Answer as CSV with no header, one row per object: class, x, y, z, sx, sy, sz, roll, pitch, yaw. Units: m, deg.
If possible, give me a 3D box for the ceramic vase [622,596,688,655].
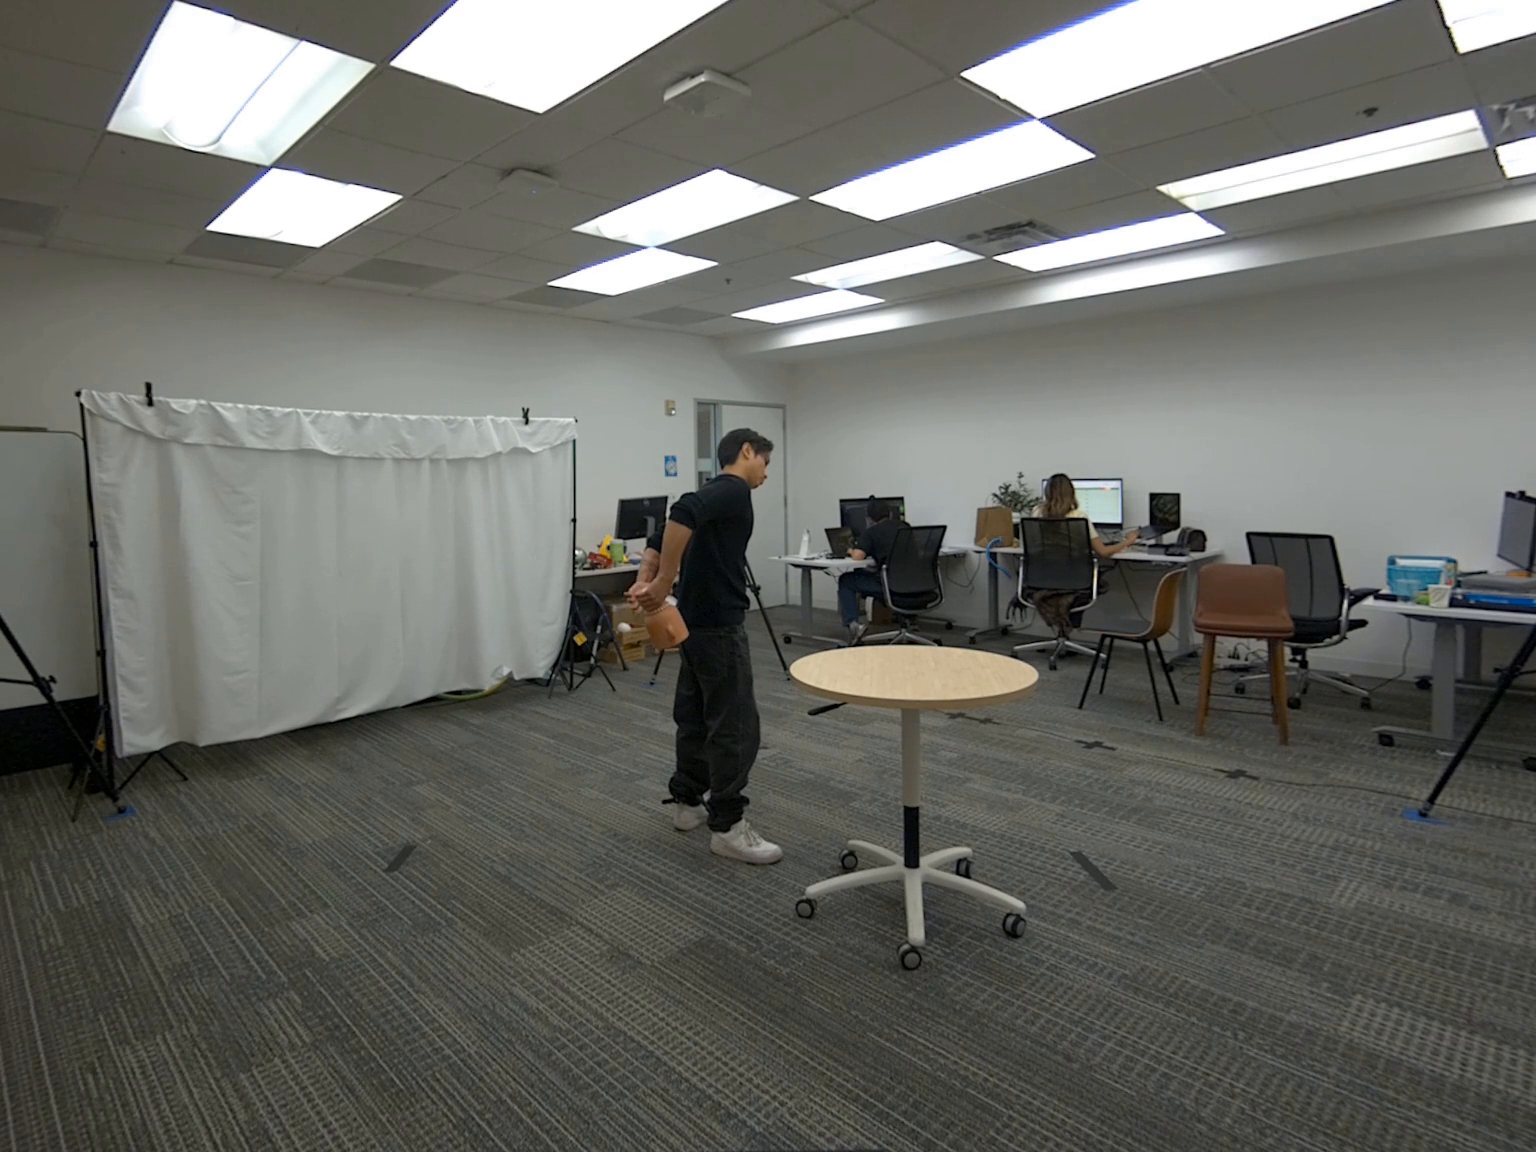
ceramic vase,-0.384,0.136,3.075,0.161,0.219,0.133,-20,5,35
